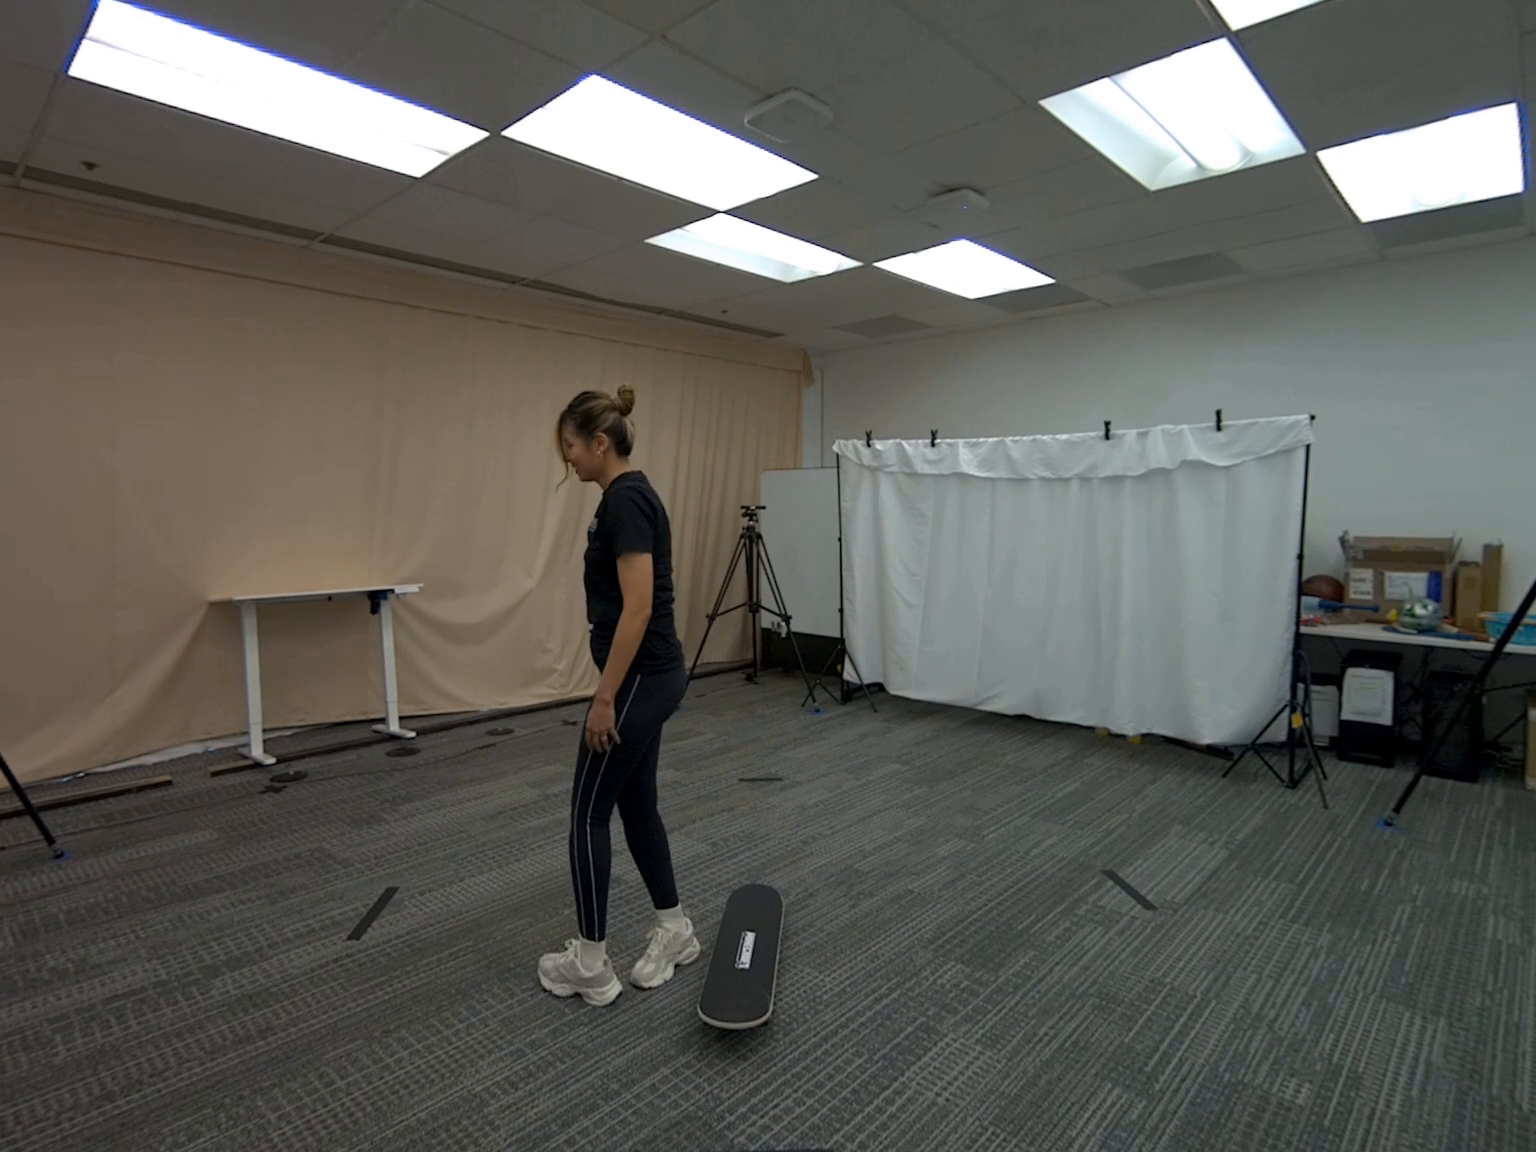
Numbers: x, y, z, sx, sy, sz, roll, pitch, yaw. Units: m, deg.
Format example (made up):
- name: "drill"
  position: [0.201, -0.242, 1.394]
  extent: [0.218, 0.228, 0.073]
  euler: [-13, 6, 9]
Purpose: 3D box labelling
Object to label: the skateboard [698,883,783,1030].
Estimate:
- name: "skateboard"
  position: [-0.068, 1.124, 2.477]
  extent: [0.195, 0.110, 0.782]
  euler: [0, 5, 4]
